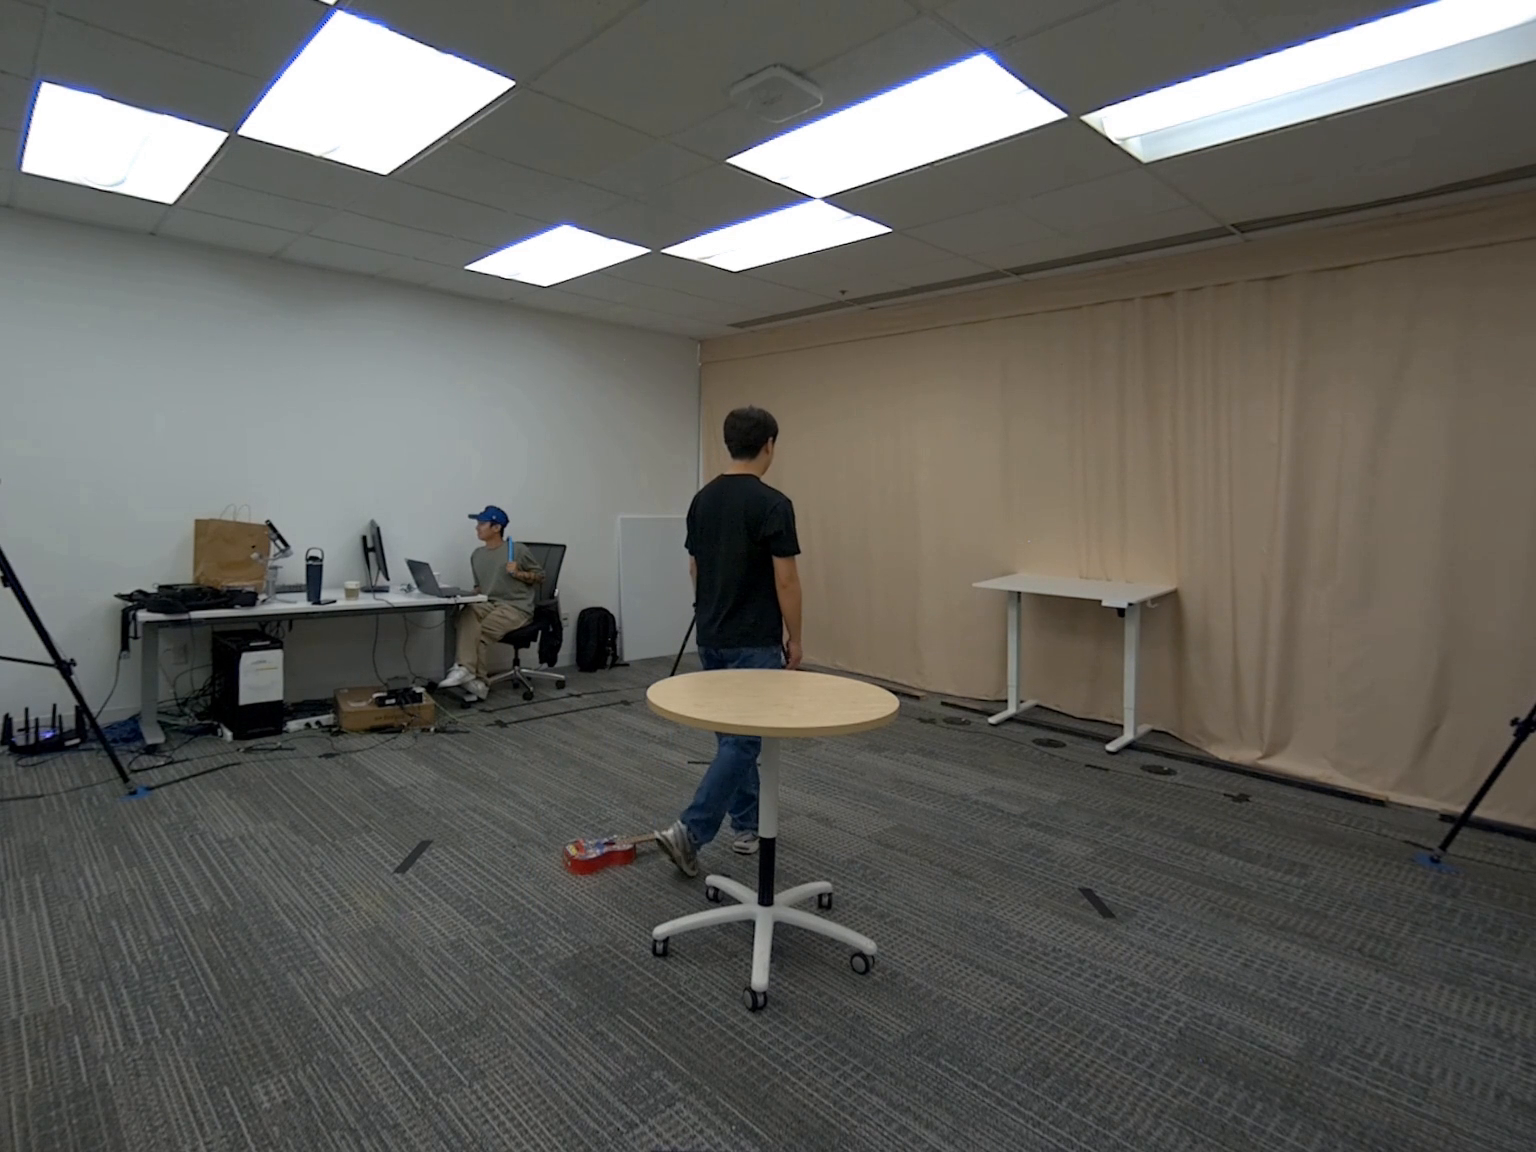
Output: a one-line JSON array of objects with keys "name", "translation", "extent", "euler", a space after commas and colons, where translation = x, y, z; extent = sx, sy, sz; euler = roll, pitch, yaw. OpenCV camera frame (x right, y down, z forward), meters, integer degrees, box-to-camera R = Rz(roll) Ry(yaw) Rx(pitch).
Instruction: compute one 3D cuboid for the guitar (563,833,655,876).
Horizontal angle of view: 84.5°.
[{"name": "guitar", "translation": [-0.539, 1.052, 3.234], "extent": [0.491, 0.070, 0.196], "euler": [-1, 4, -19]}]
